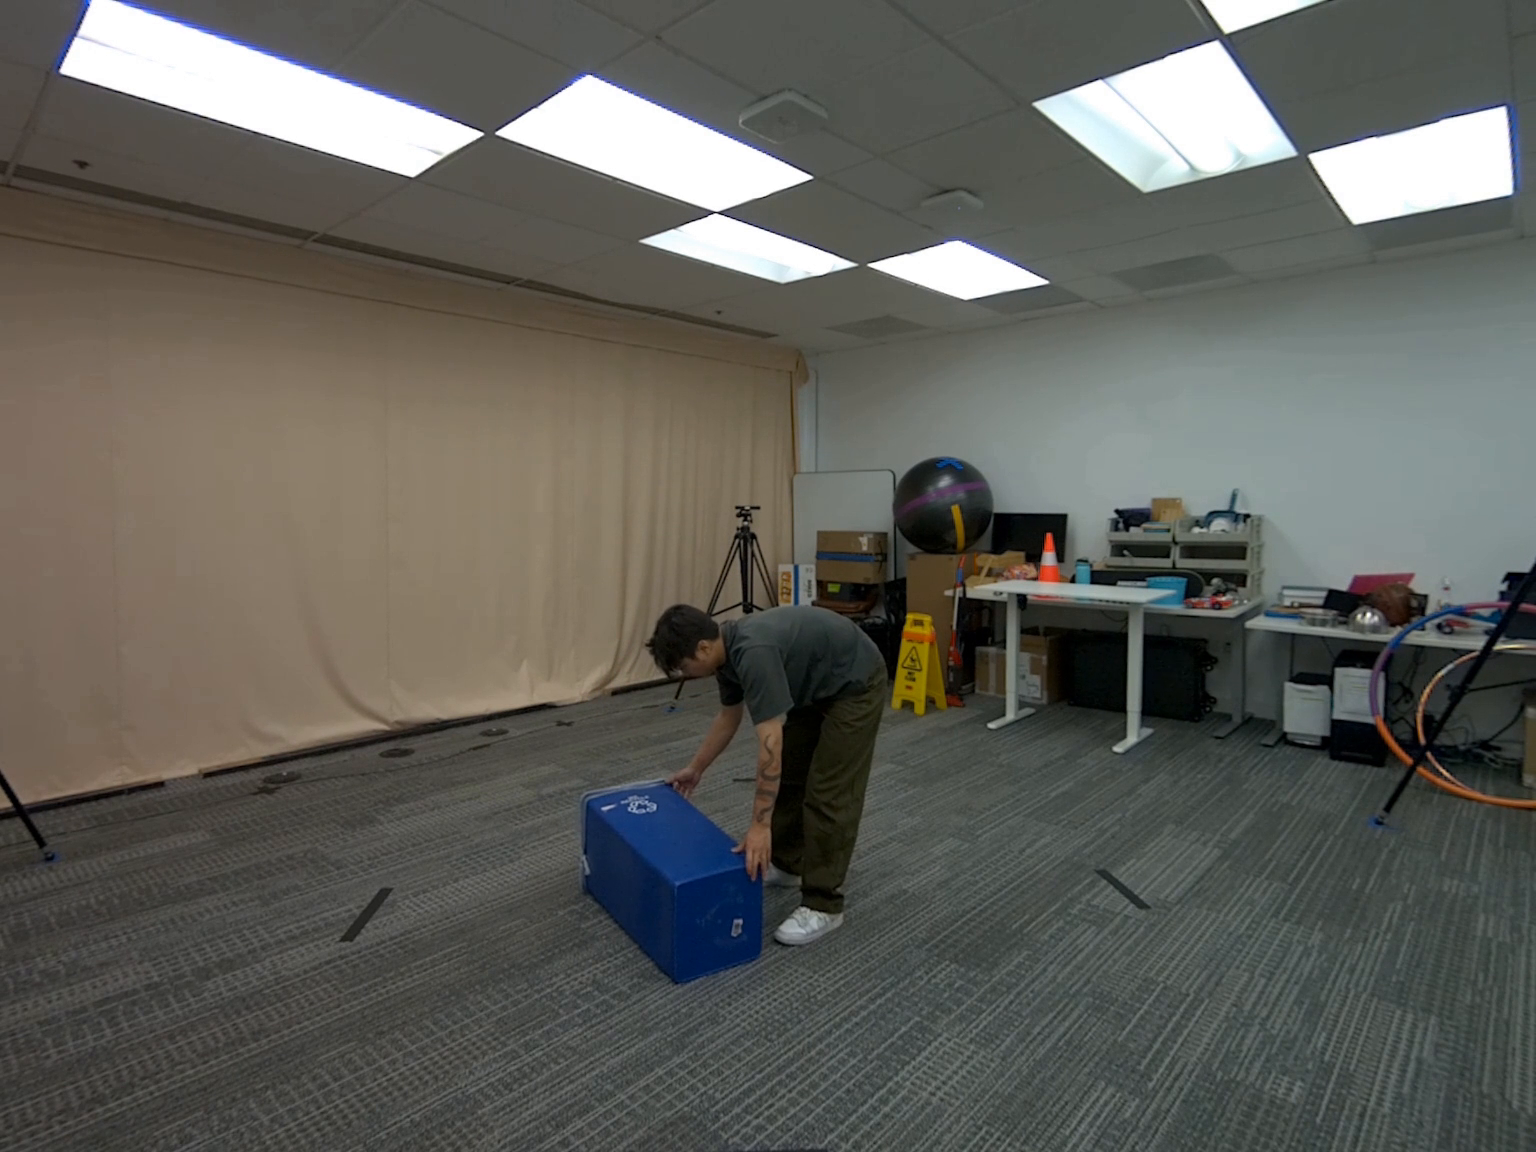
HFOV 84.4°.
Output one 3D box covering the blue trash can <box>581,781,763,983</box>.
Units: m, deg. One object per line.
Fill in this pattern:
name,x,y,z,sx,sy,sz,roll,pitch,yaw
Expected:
blue trash can,-0.335,0.999,2.809,0.368,0.373,0.735,-2,7,-31
